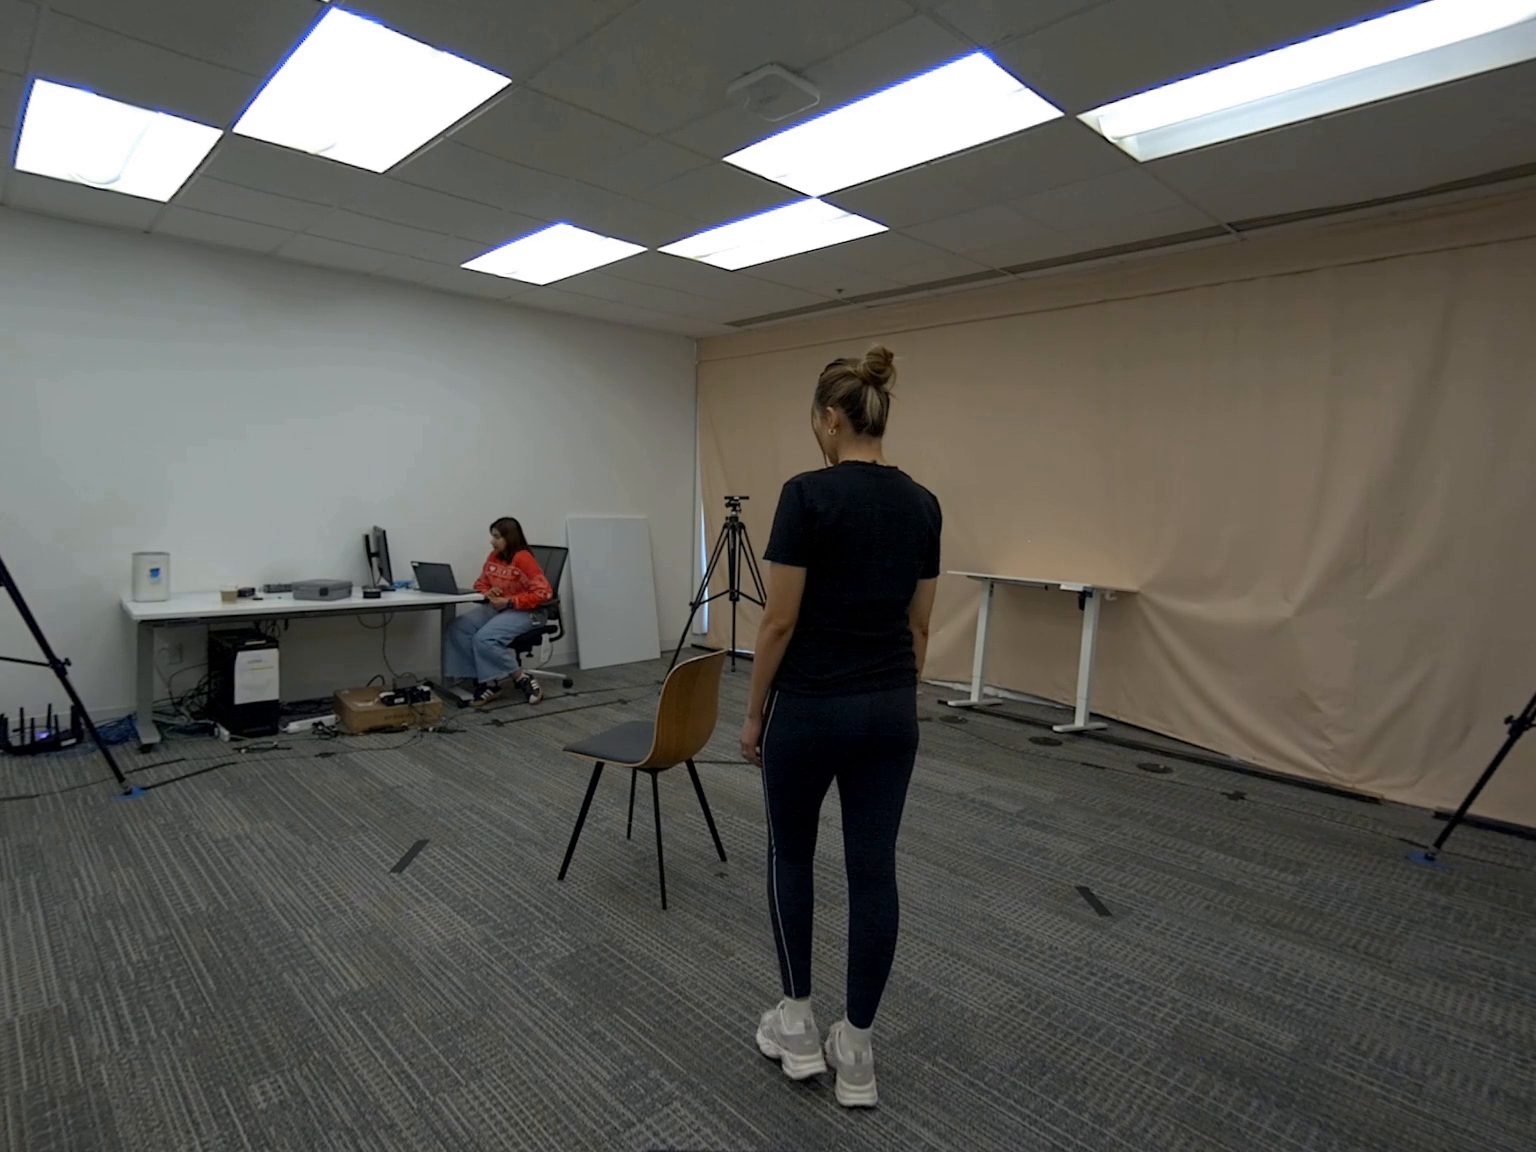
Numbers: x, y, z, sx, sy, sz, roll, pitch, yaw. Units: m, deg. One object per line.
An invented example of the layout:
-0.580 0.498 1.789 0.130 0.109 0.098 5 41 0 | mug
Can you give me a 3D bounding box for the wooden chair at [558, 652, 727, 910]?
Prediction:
-0.458 0.669 3.094 0.534 0.874 0.470 8 6 26 | wooden chair
